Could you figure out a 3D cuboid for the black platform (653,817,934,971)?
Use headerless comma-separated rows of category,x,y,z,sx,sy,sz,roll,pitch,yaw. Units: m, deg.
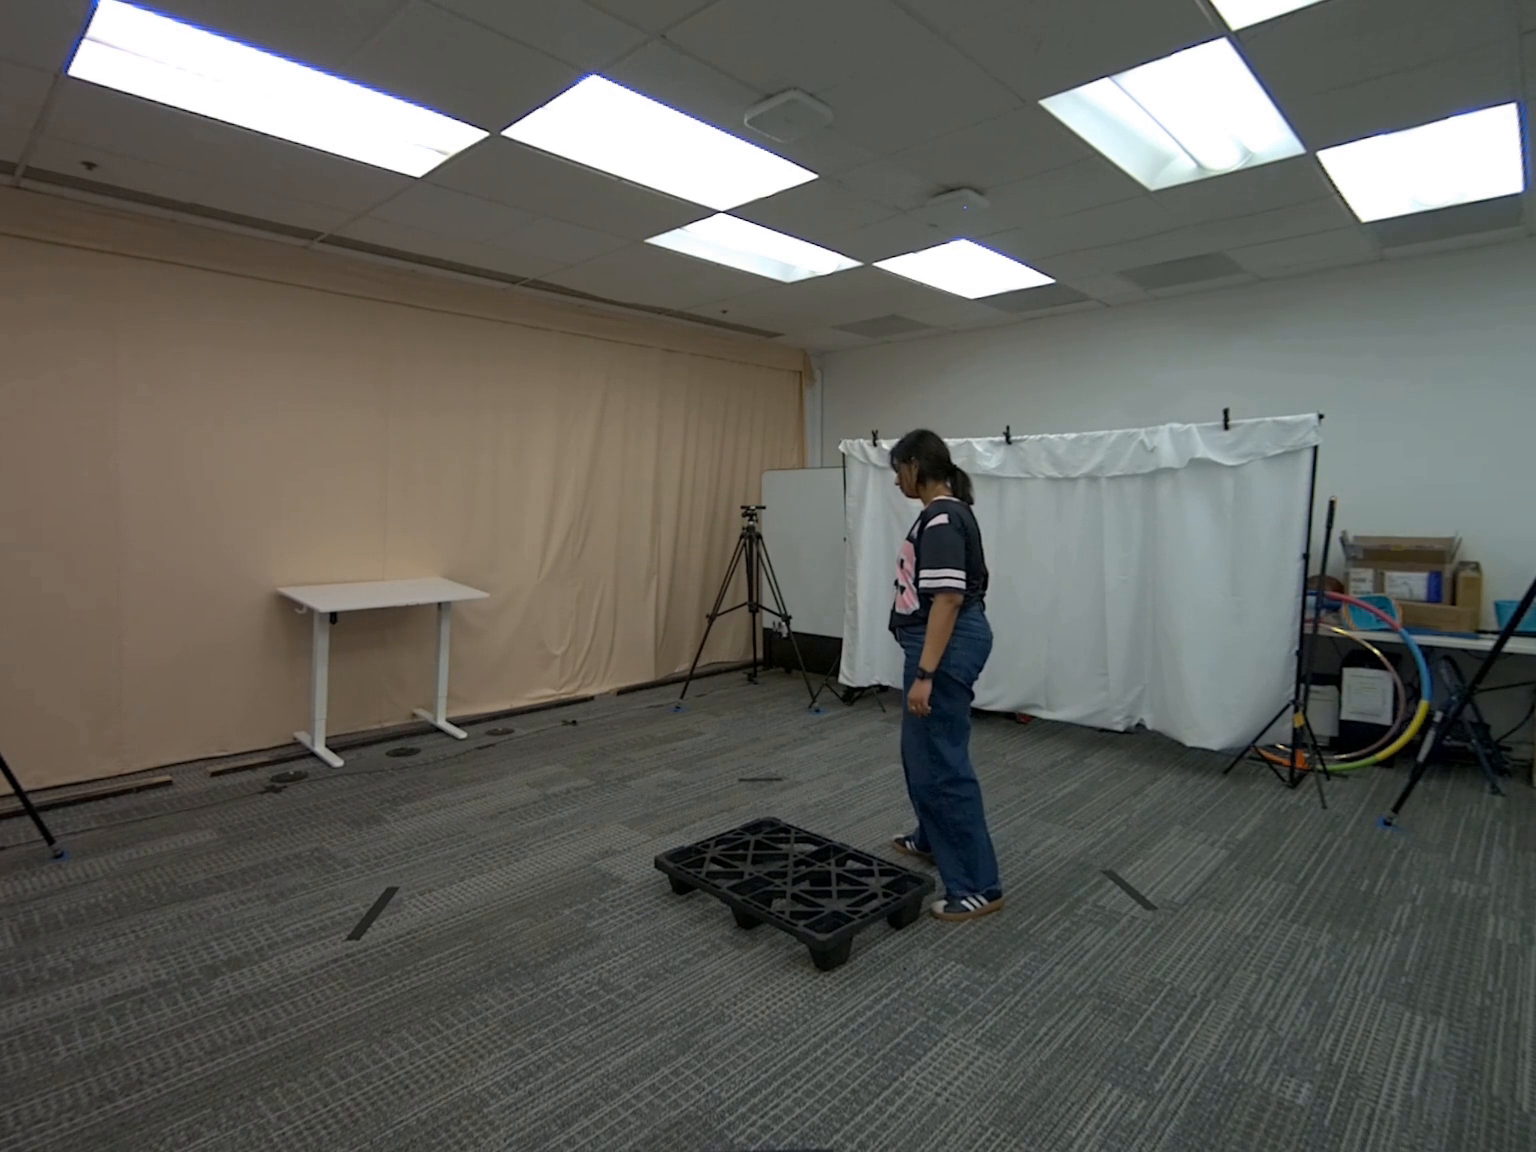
black platform,0.080,1.083,2.923,0.587,0.143,0.832,-6,7,-44
